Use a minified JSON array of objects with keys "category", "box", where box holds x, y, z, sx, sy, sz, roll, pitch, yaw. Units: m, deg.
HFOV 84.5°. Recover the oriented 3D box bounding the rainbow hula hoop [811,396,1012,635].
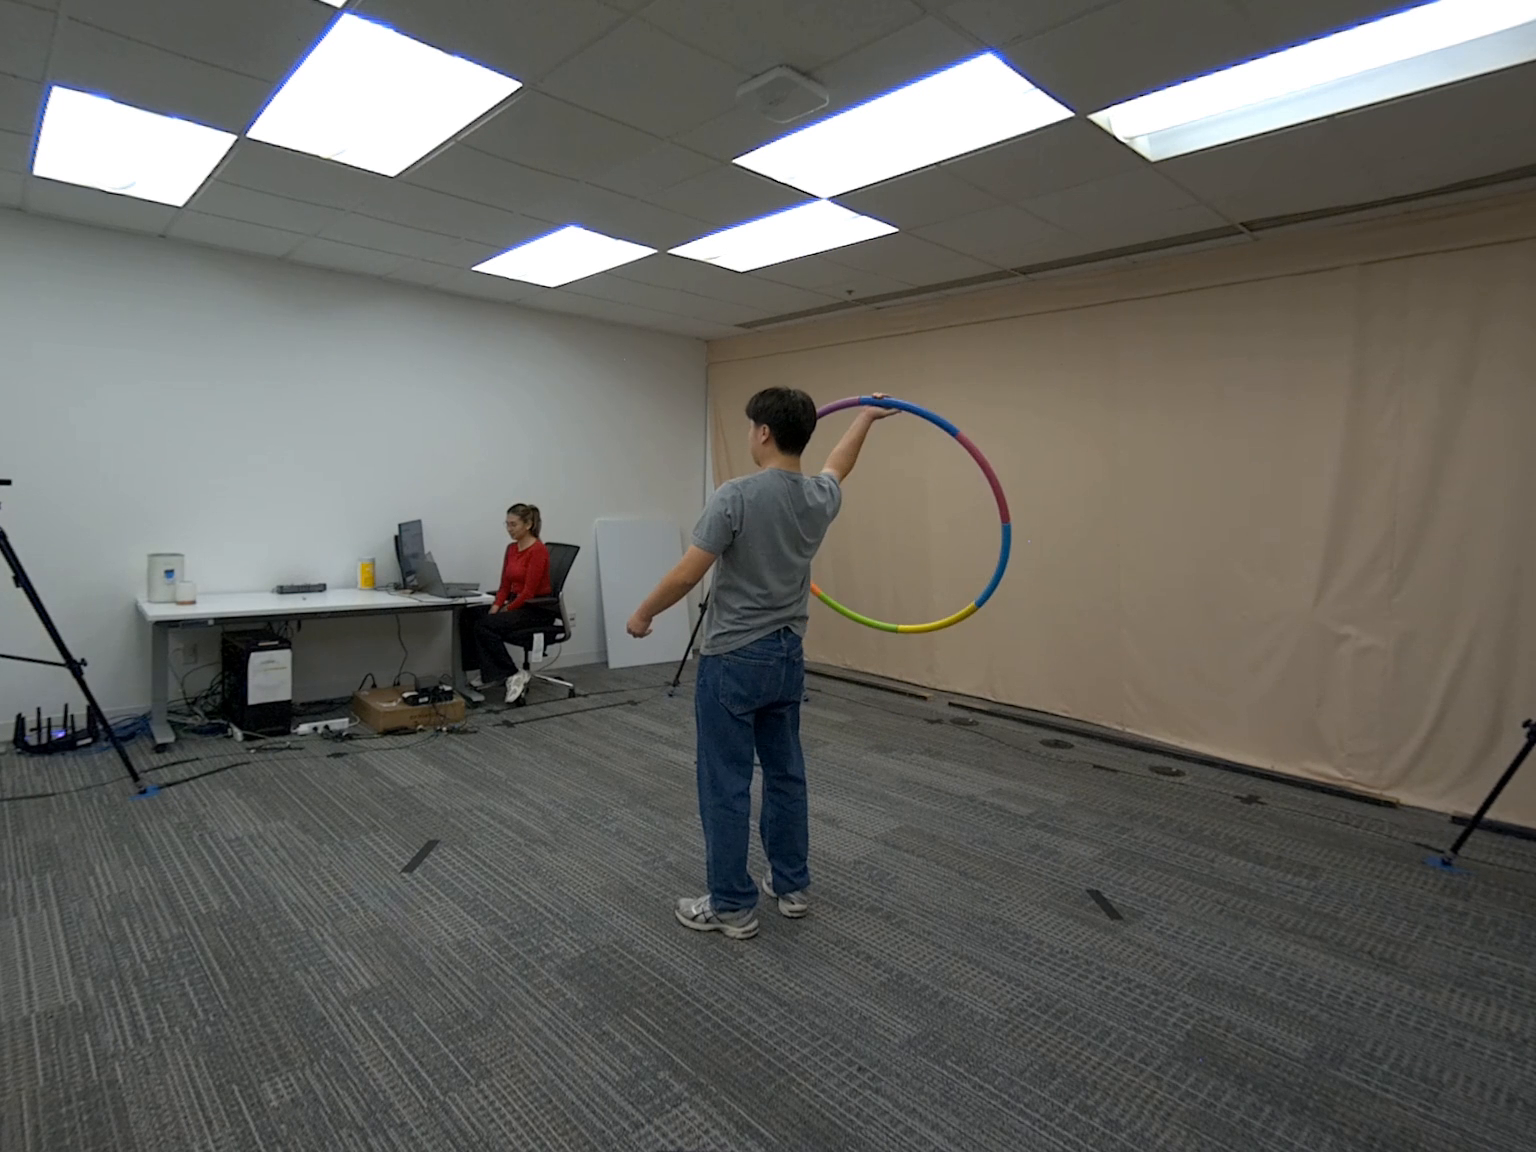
[{"category":"rainbow hula hoop","box":[0.420,-0.194,3.239,1.001,0.961,0.035,4,27,33]}]
